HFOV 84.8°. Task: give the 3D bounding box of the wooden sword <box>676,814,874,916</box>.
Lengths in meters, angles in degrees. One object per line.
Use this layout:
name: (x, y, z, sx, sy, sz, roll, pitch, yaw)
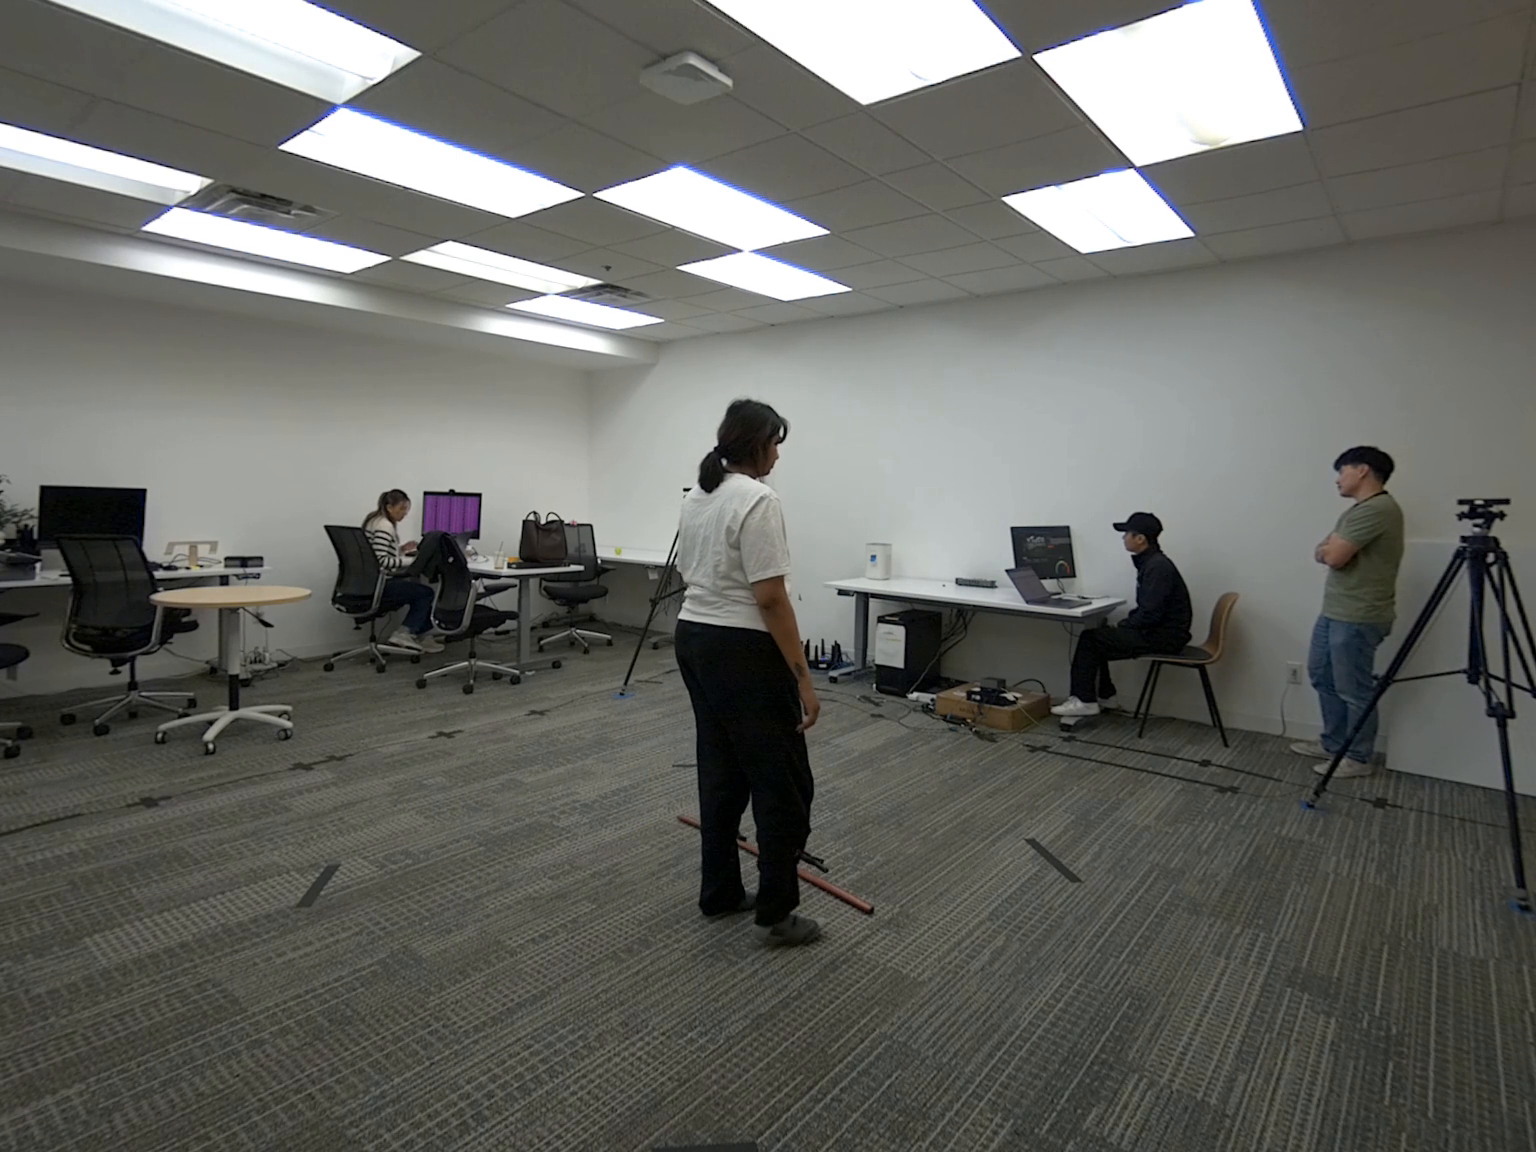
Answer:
wooden sword: (-0.021, 1.040, 3.183, 1.060, 0.023, 0.051, 7, 37, 48)
